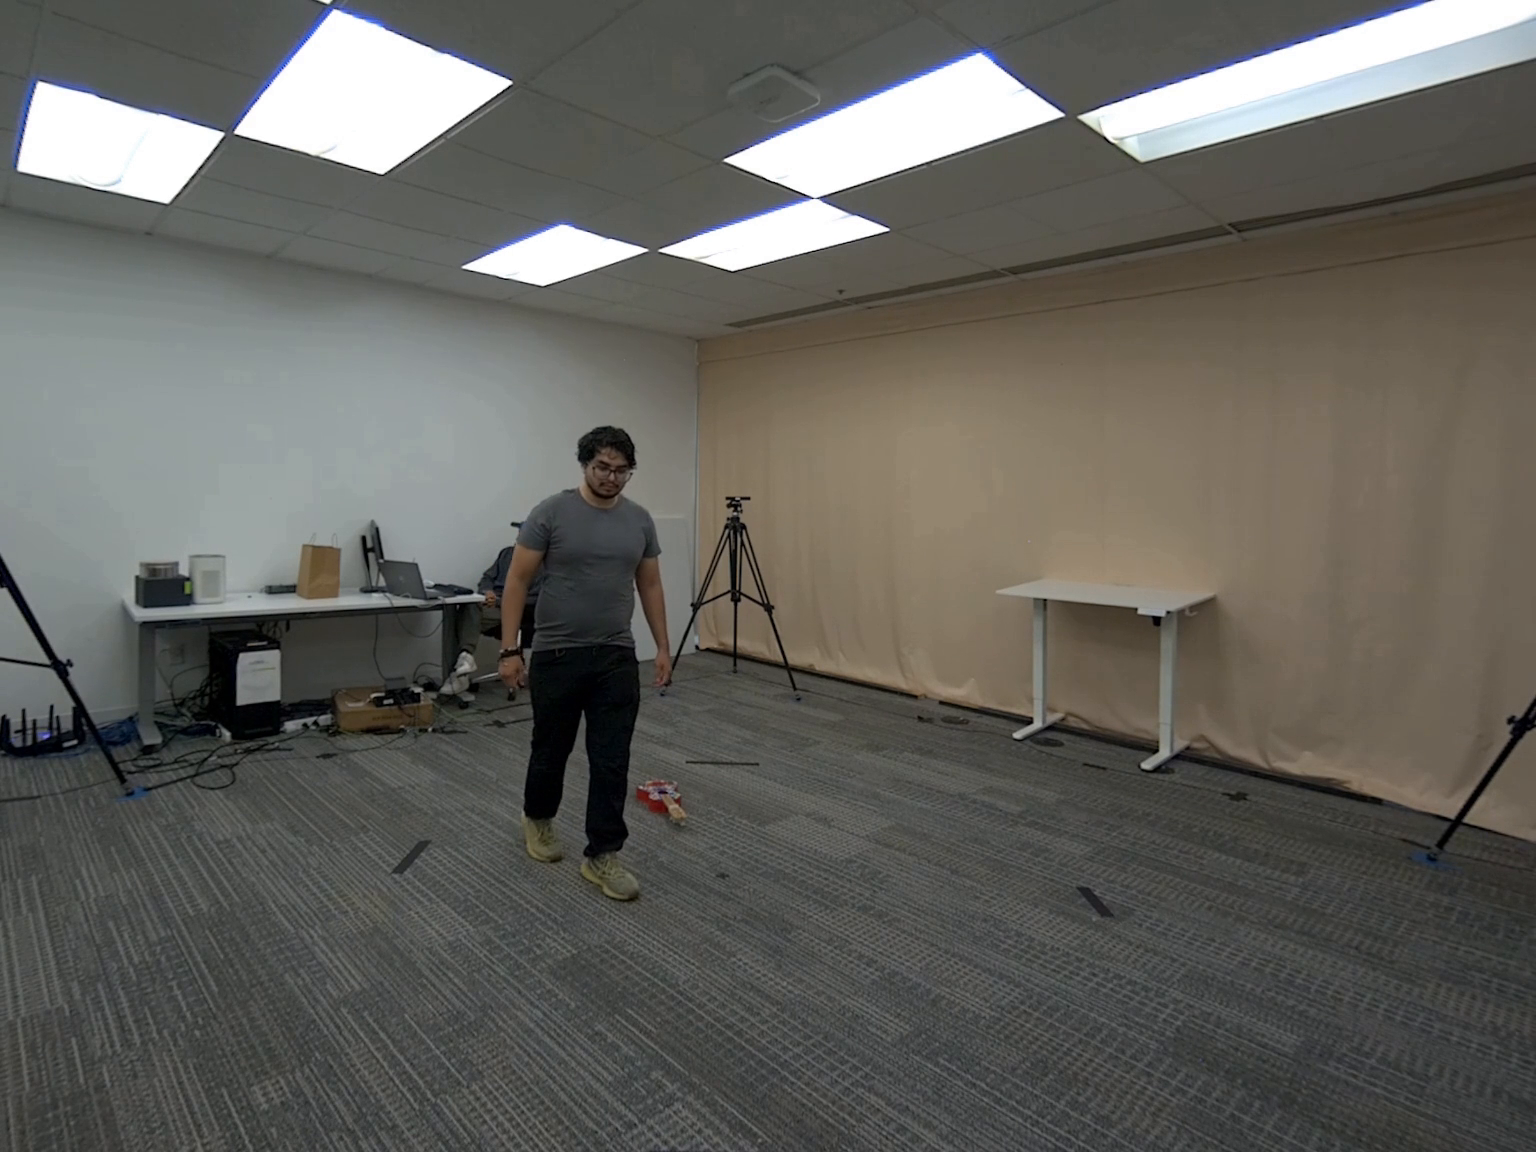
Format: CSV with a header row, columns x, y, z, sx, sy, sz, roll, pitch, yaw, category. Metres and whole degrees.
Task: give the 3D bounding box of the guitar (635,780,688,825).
x,y,z,sx,sy,sz,roll,pitch,yaw,category
-0.488,1.010,3.731,0.191,0.070,0.503,0,5,-11,guitar
